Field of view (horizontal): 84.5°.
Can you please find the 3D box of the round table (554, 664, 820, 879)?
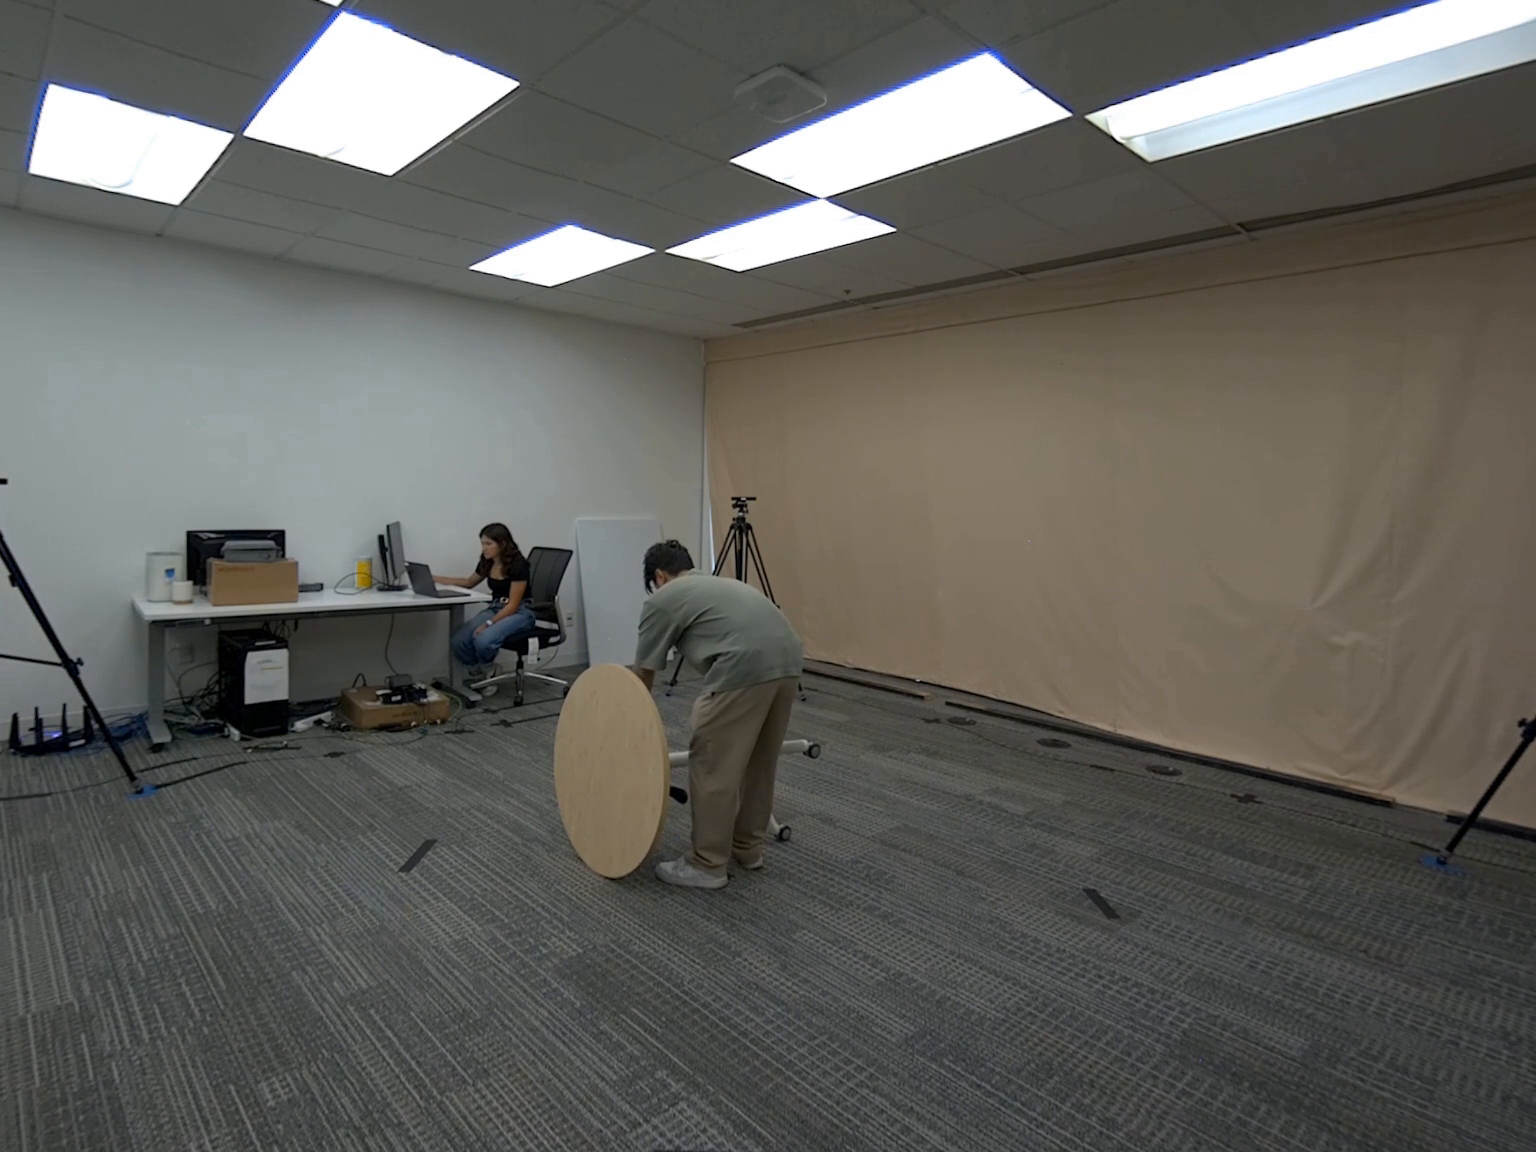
[{"bbox_3d":[-0.326,0.733,3.382,0.766,0.785,0.805,6,0,-42],"label":"round table"}]
